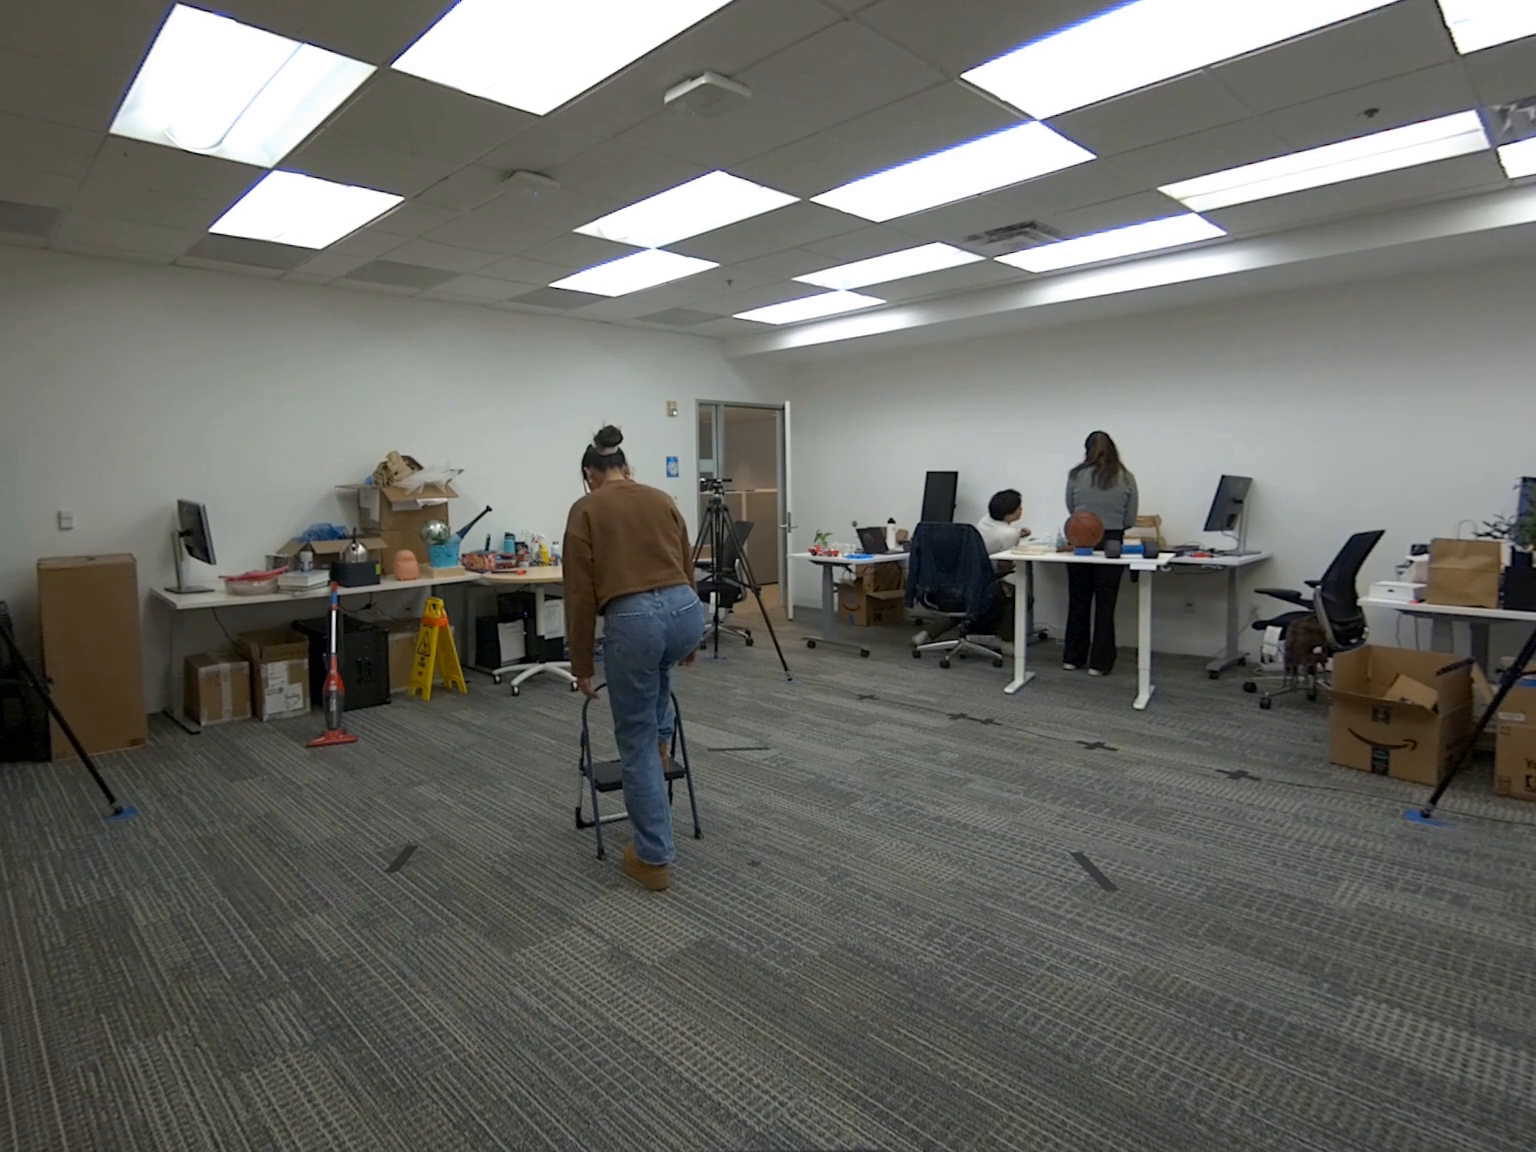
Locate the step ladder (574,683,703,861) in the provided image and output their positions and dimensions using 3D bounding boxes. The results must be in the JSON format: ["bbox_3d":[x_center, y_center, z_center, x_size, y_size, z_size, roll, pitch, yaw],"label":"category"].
[{"bbox_3d":[-0.523,0.719,3.382,0.421,0.604,0.358,-4,5,-28],"label":"step ladder"}]
